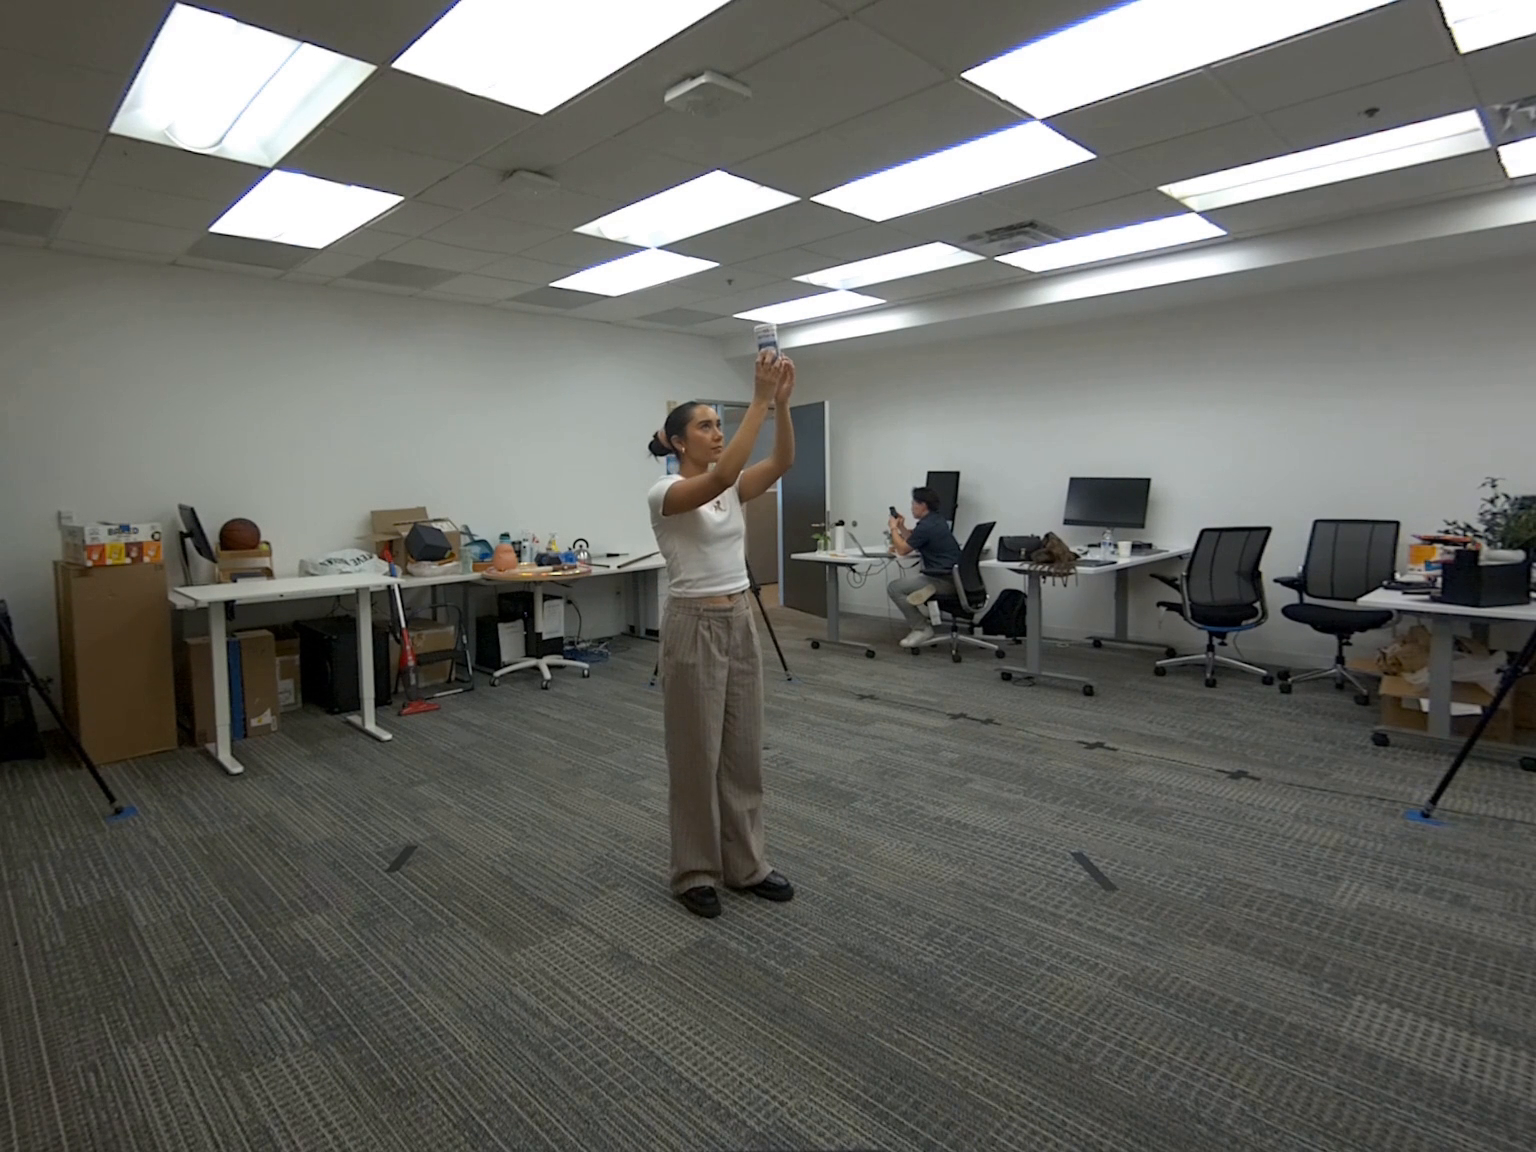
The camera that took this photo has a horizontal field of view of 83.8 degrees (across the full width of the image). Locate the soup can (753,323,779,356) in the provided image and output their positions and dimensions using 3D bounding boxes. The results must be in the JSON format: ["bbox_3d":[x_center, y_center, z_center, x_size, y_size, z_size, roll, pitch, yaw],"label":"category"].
[{"bbox_3d":[0.002,-0.681,2.513,0.067,0.121,0.067,-7,5,-1],"label":"soup can"}]
